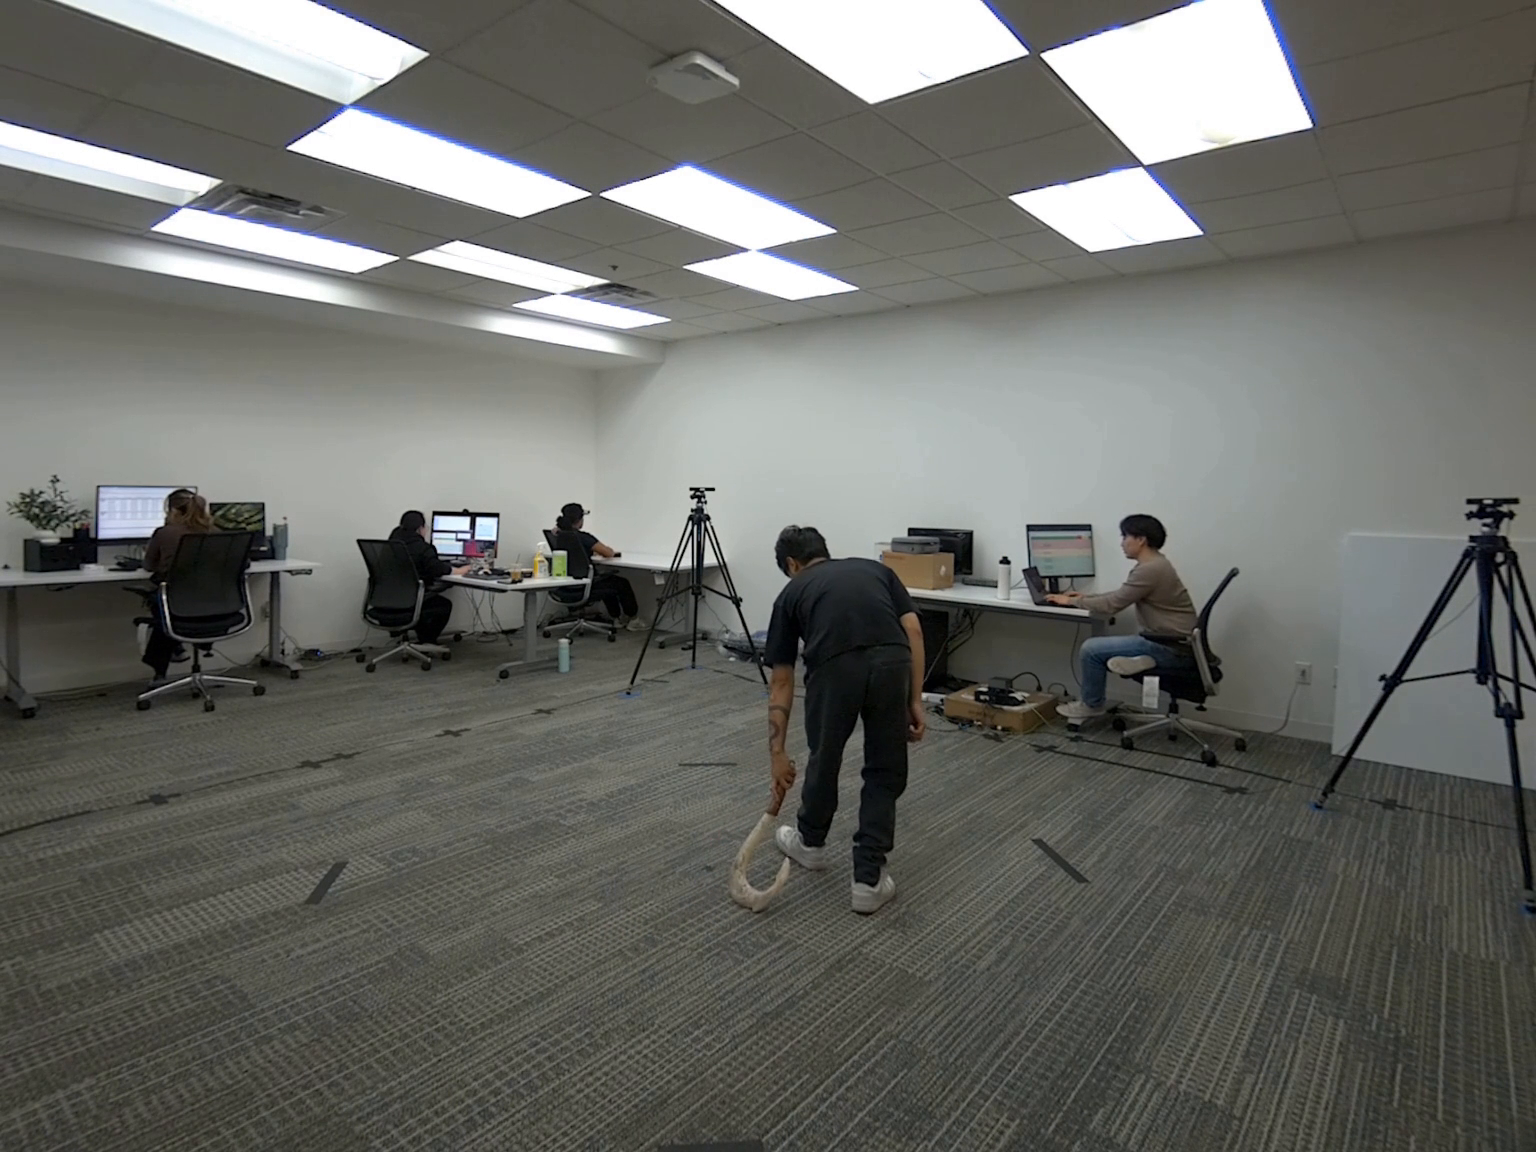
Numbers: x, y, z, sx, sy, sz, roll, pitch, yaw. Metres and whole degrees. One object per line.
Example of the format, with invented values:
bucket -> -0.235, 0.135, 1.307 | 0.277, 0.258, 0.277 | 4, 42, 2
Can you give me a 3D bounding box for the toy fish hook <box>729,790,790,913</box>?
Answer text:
toy fish hook -> 0.010, 0.882, 2.914 | 0.232, 0.511, 0.046 | 7, -26, 39
